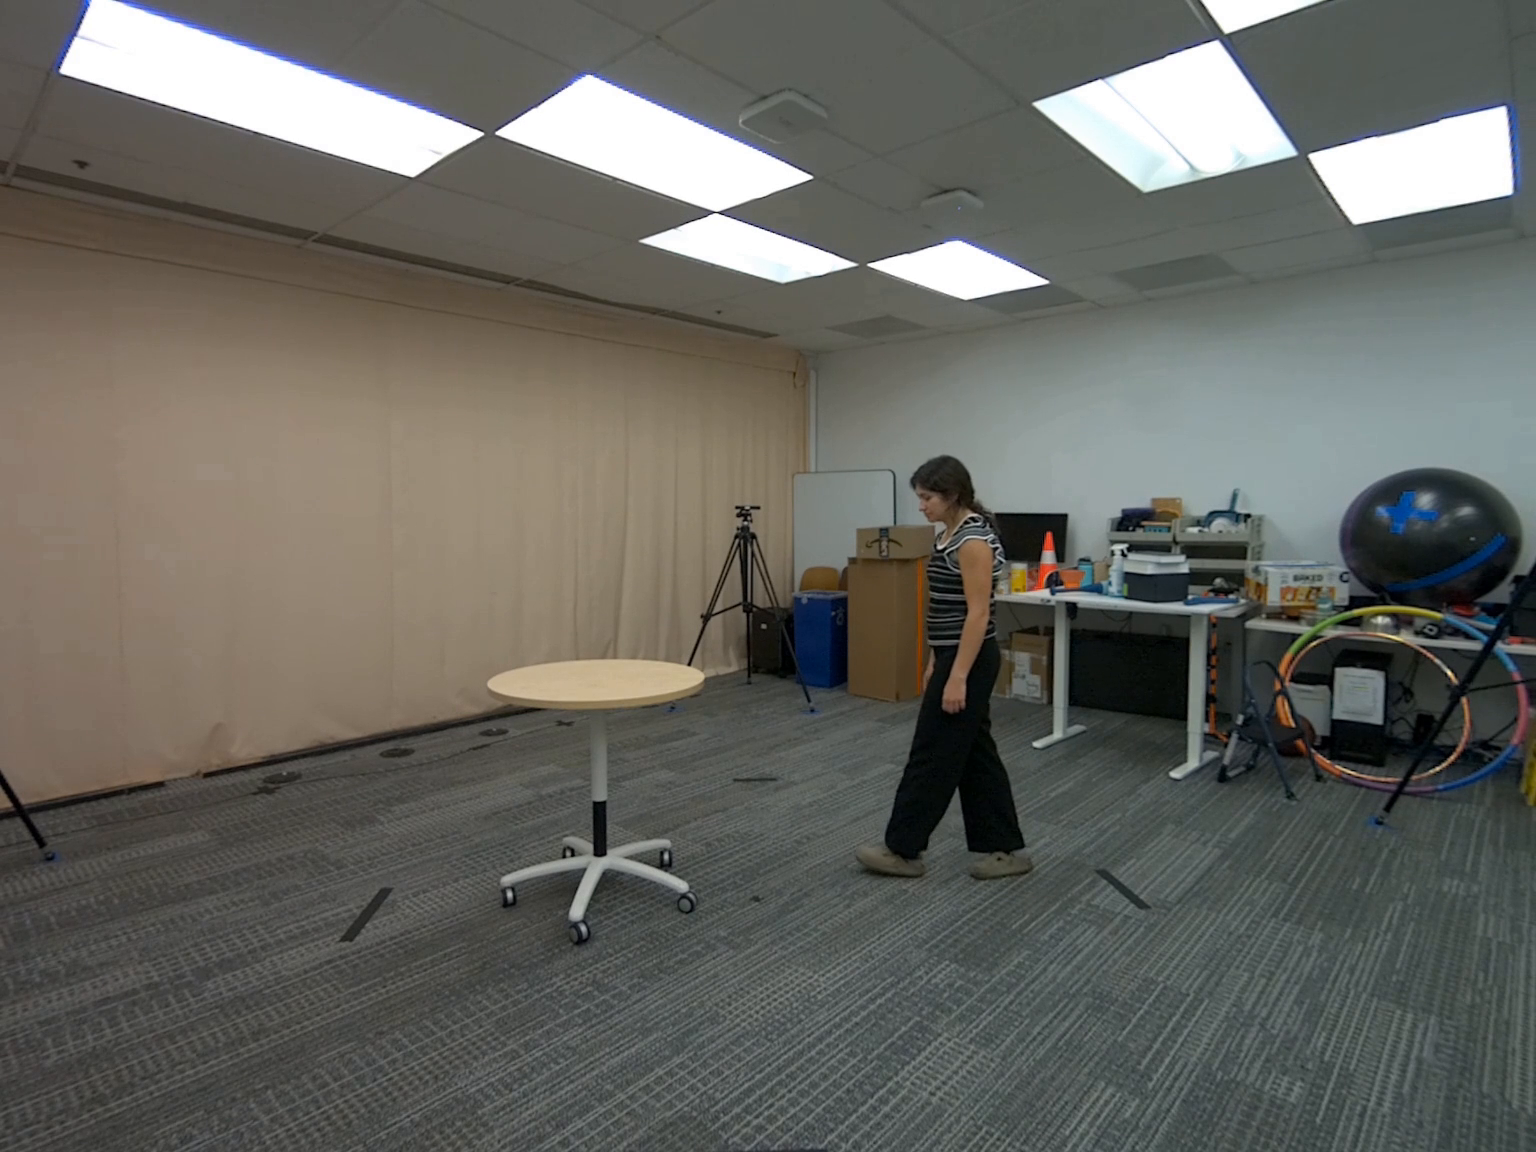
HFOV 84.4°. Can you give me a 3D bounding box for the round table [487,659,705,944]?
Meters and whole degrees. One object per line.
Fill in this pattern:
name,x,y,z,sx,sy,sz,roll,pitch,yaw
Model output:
round table,-0.605,0.754,3.039,0.784,0.785,0.788,0,3,-2
